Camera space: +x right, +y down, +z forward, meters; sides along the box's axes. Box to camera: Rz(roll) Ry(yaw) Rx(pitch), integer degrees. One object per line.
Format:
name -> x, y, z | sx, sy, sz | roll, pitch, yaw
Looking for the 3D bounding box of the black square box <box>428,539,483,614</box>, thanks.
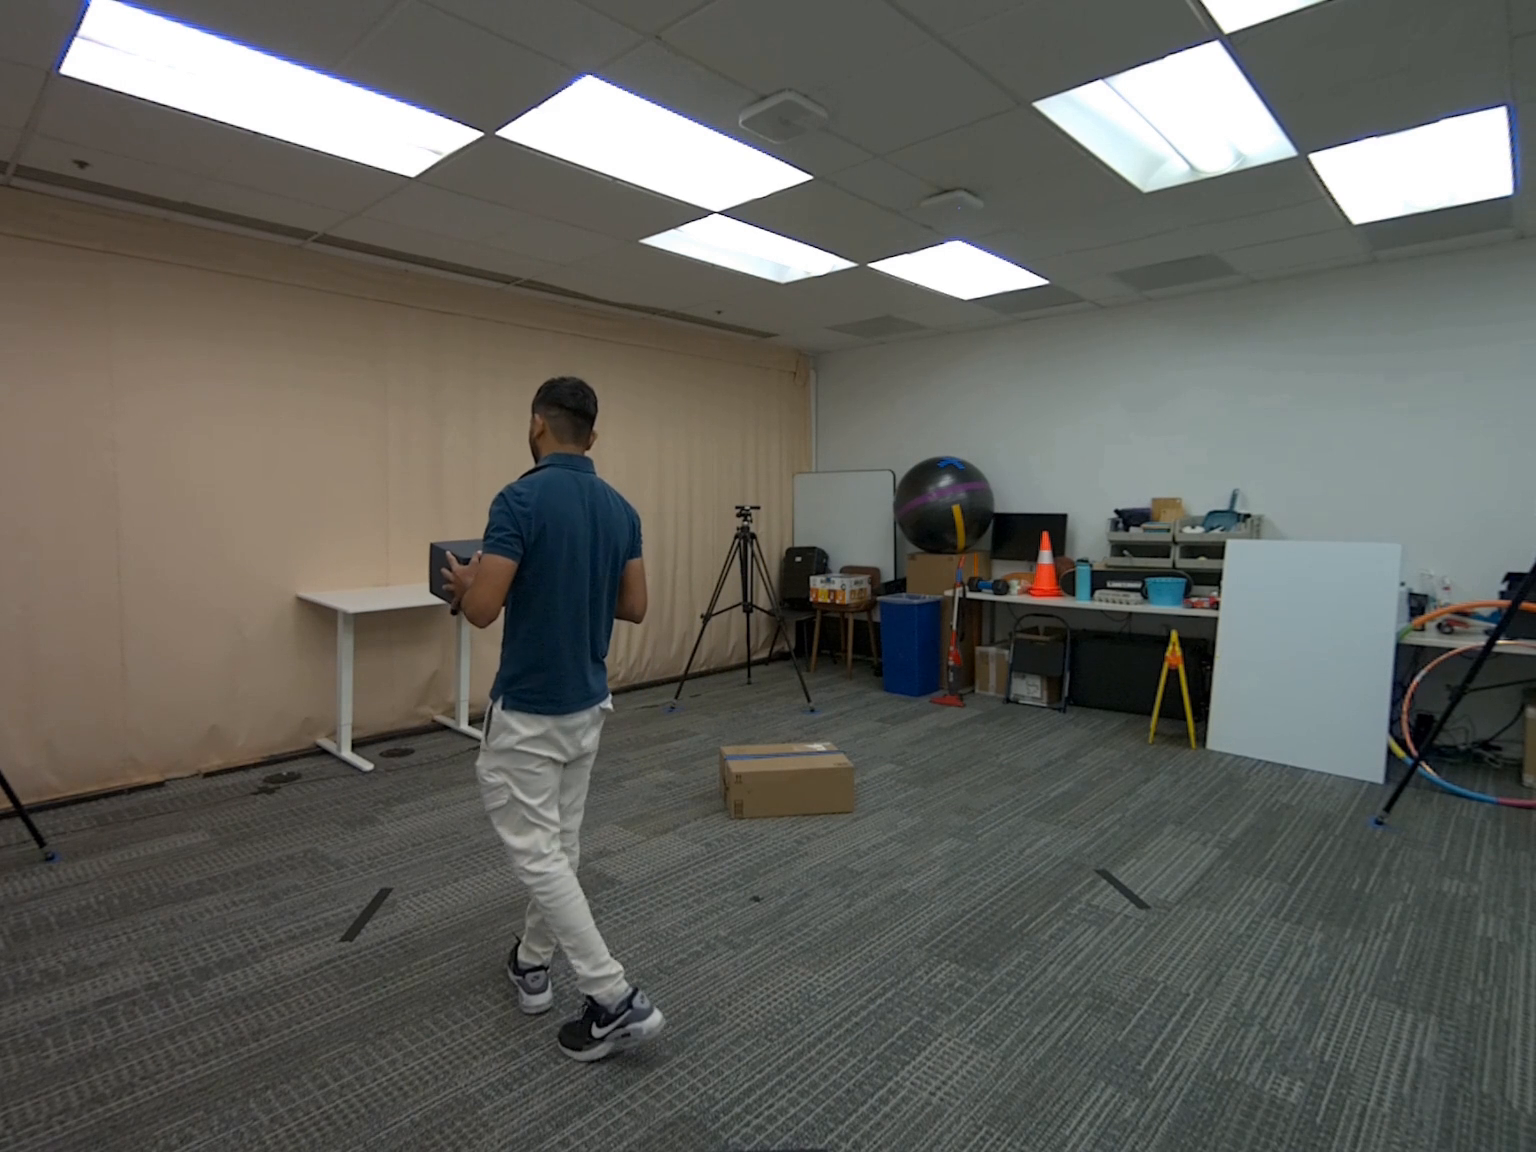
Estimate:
black square box -> -0.828, -0.014, 2.487 | 0.225, 0.155, 0.221 | 15, 16, 41
